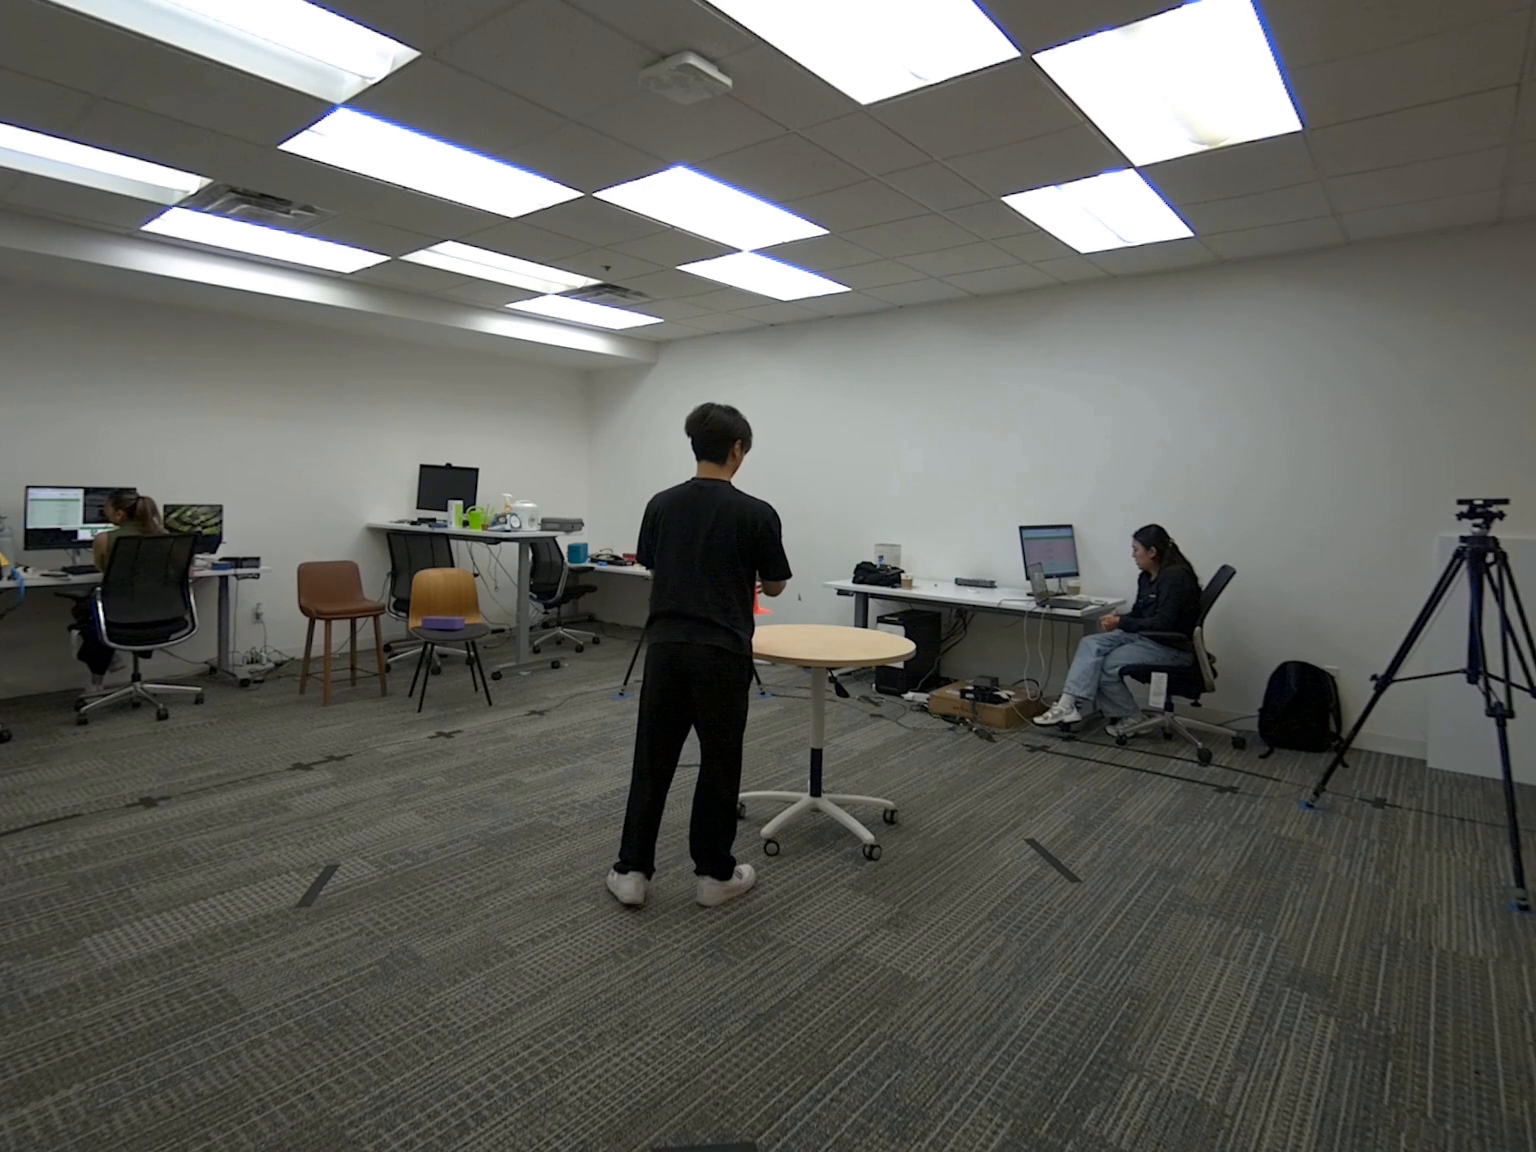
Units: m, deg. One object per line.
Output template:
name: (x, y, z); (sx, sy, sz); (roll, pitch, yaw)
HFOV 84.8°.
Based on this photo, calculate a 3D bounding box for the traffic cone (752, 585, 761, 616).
traffic cone: (-0.105, -0.065, 3.256); (0.210, 0.381, 0.199); (13, 9, 33)
